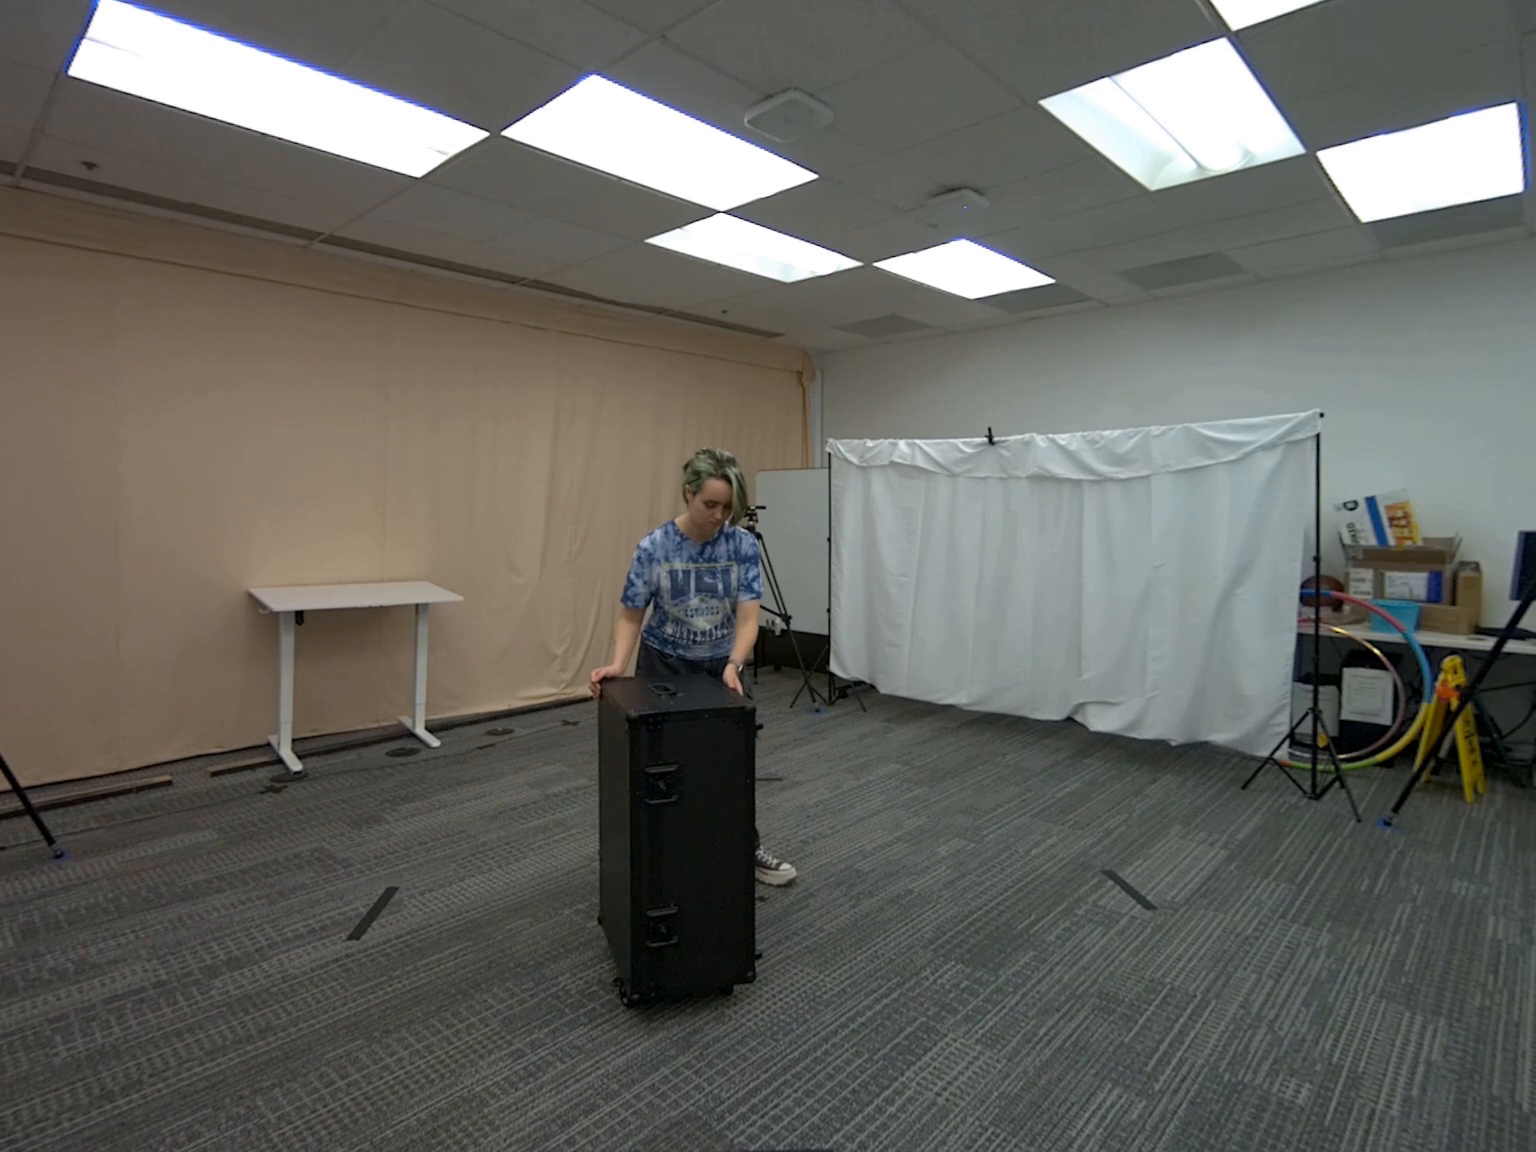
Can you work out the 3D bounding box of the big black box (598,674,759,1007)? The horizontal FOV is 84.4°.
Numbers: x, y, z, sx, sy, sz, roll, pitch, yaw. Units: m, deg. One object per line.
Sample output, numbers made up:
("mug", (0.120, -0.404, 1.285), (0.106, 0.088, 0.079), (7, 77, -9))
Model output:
("big black box", (-0.276, 0.757, 2.495), (0.389, 0.860, 0.532), (-1, 3, -19))
